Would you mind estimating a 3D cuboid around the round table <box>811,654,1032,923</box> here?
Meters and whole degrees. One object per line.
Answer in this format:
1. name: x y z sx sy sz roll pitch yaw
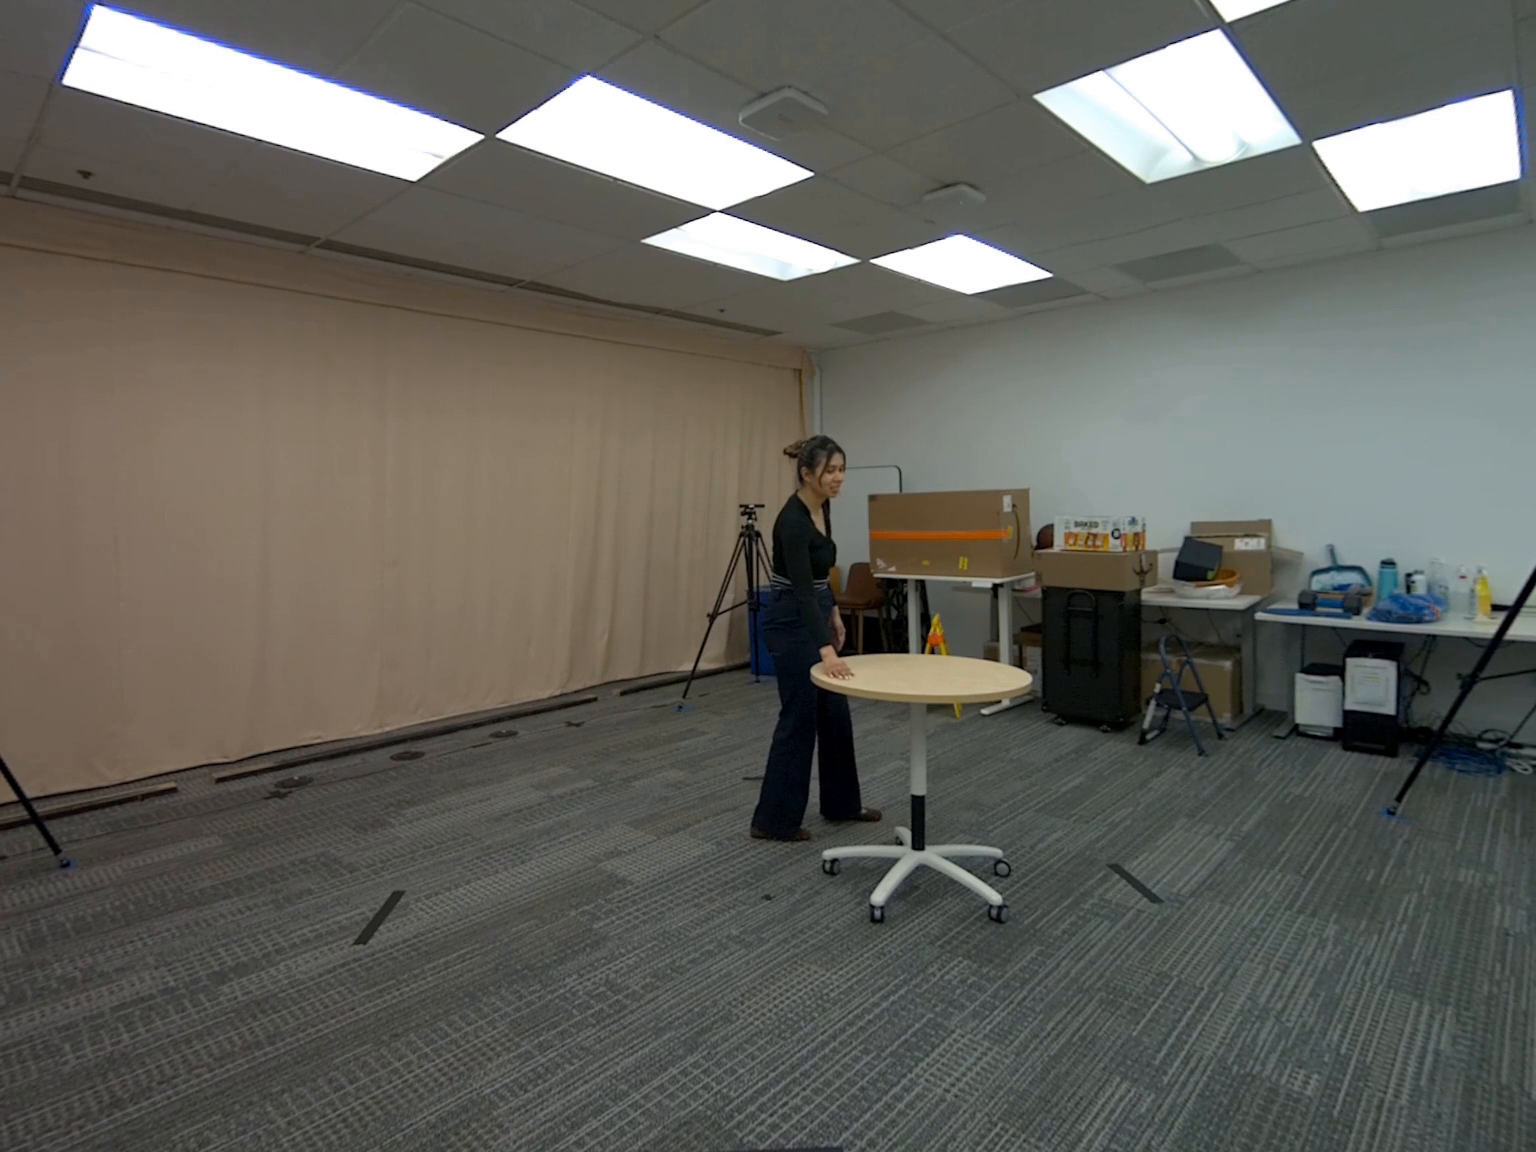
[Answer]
1. round table: 0.548 0.738 3.025 0.763 0.792 0.766 -1 3 -2
